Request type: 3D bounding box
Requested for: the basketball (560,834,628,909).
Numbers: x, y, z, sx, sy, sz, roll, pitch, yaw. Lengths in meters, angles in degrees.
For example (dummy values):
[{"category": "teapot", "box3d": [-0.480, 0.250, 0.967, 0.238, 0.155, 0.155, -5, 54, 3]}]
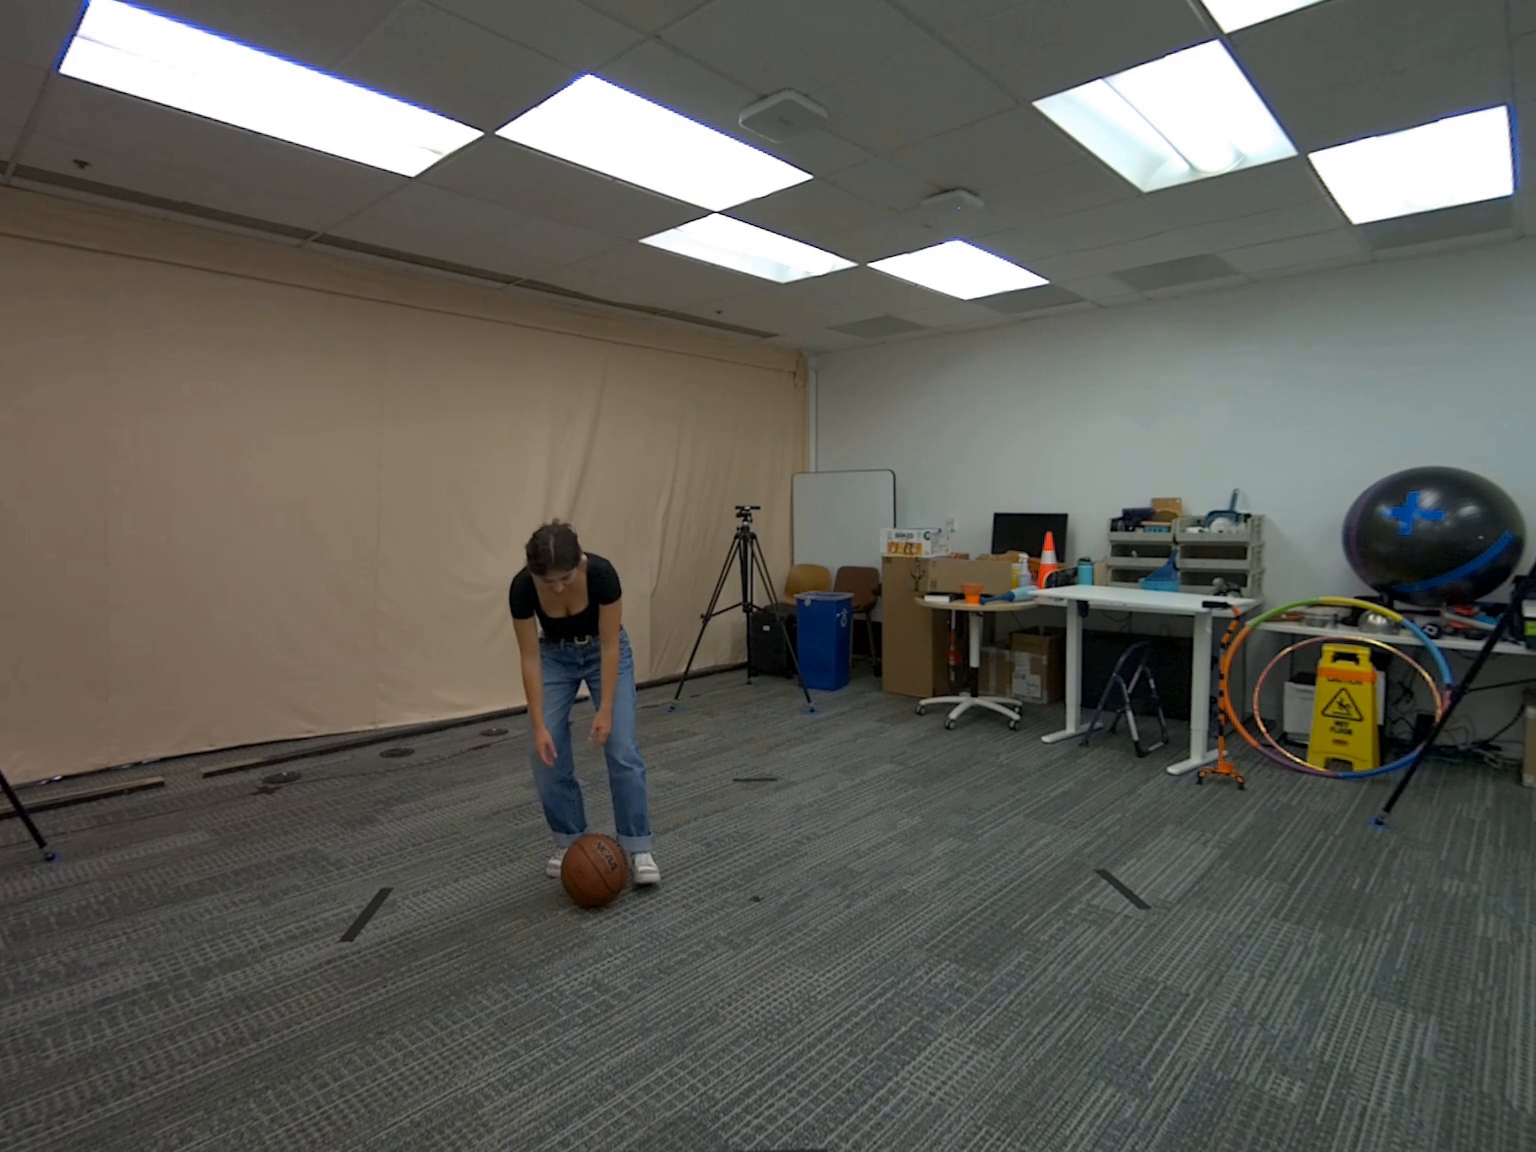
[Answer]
[{"category": "basketball", "box3d": [-0.608, 1.029, 2.956, 0.236, 0.235, 0.237, 0, 4, -2]}]
